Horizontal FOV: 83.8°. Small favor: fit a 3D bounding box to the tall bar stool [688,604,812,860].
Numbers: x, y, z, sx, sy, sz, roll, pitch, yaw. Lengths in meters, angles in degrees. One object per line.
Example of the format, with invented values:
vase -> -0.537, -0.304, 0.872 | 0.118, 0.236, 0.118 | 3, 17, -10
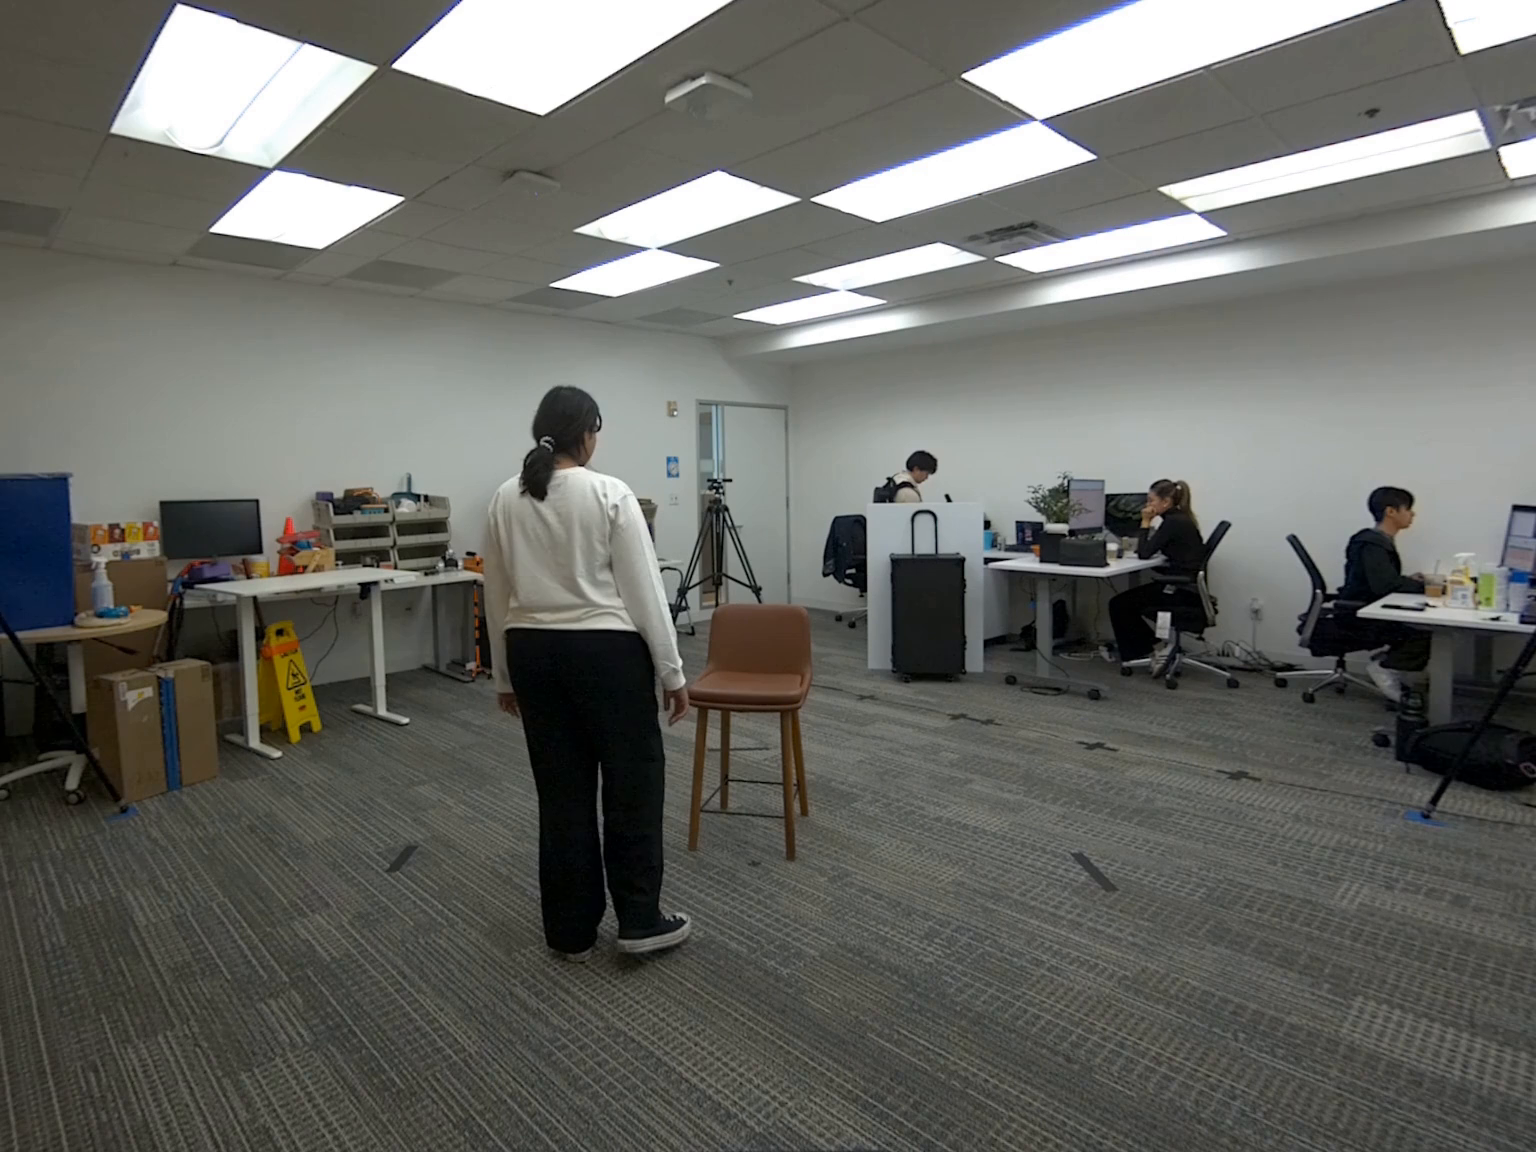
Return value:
tall bar stool -> -0.061, 0.580, 3.371 | 0.463, 0.888, 0.462 | 0, 2, 14
